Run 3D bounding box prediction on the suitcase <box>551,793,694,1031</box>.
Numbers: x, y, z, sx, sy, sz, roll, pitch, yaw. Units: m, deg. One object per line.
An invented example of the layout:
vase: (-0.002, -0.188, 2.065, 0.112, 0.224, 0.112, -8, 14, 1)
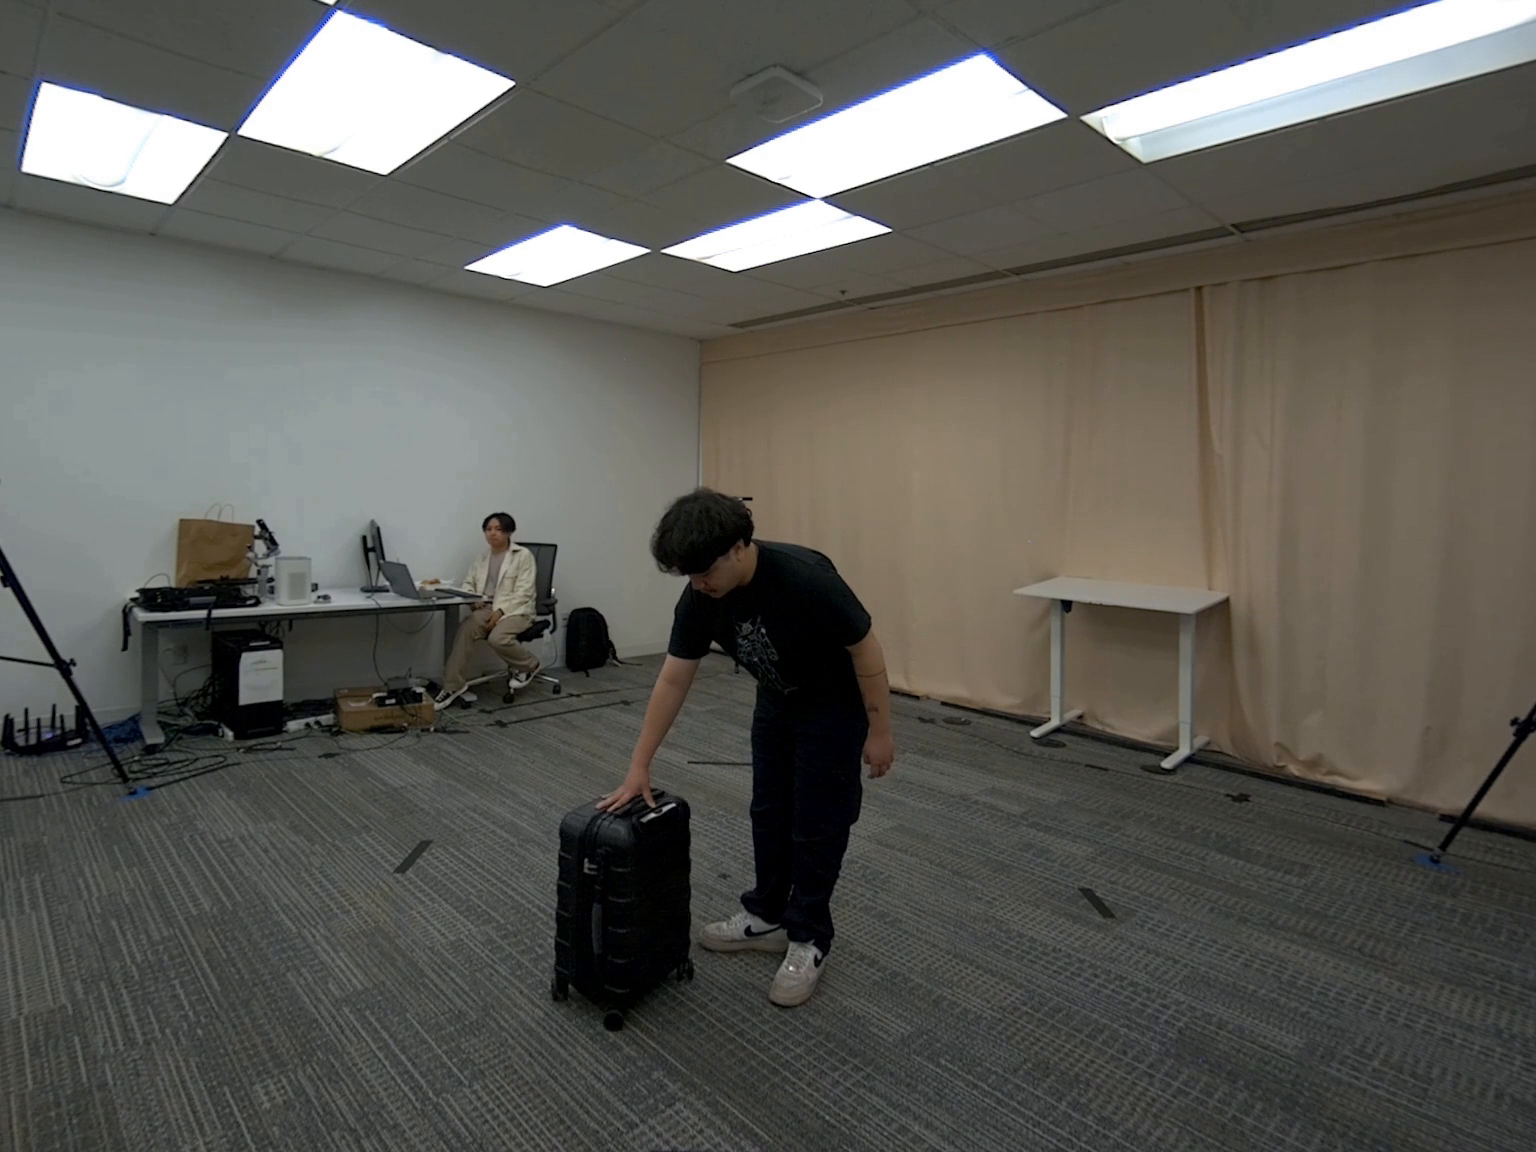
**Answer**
suitcase: (-0.414, 0.900, 2.352, 0.253, 0.548, 0.369, 2, 4, 27)
